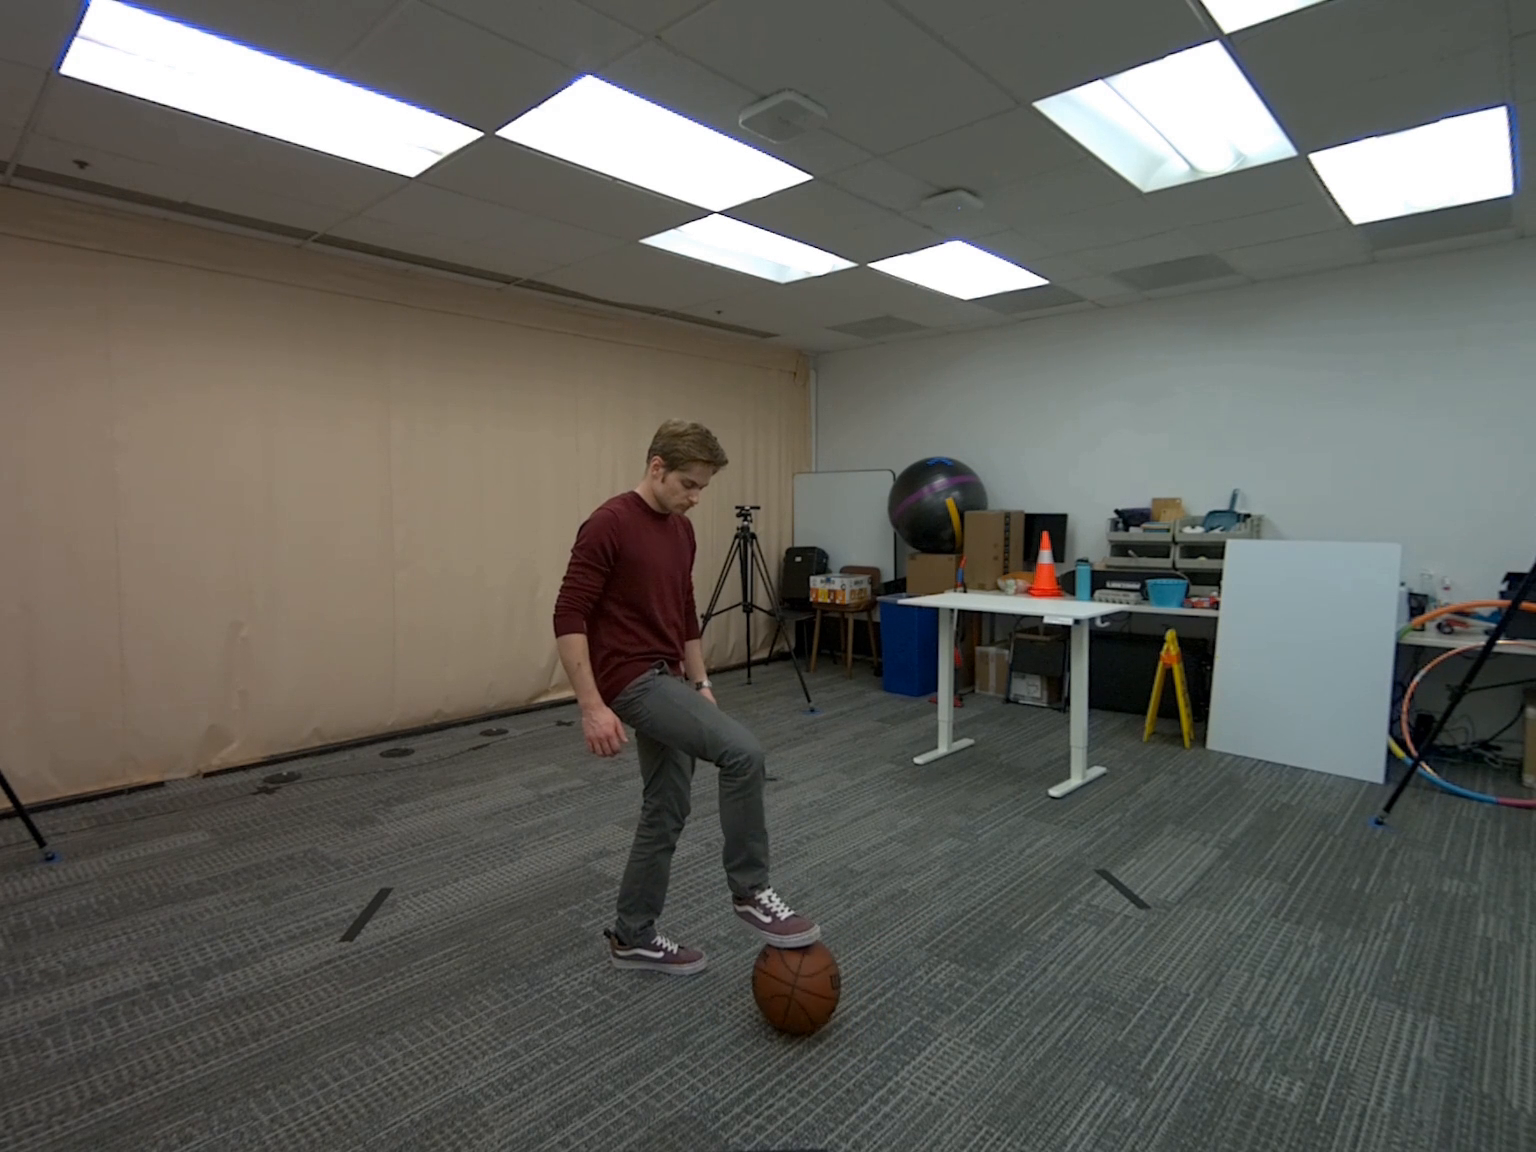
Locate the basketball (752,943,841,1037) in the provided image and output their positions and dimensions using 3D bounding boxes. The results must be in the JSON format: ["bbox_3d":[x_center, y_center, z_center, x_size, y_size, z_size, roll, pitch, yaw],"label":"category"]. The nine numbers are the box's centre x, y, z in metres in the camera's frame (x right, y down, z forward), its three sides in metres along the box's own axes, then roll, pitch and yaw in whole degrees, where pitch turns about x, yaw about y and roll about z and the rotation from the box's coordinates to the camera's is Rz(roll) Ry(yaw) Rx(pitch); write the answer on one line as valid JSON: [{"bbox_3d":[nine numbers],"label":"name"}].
[{"bbox_3d":[0.081,1.090,2.248,0.236,0.235,0.237,0,4,-2],"label":"basketball"}]
